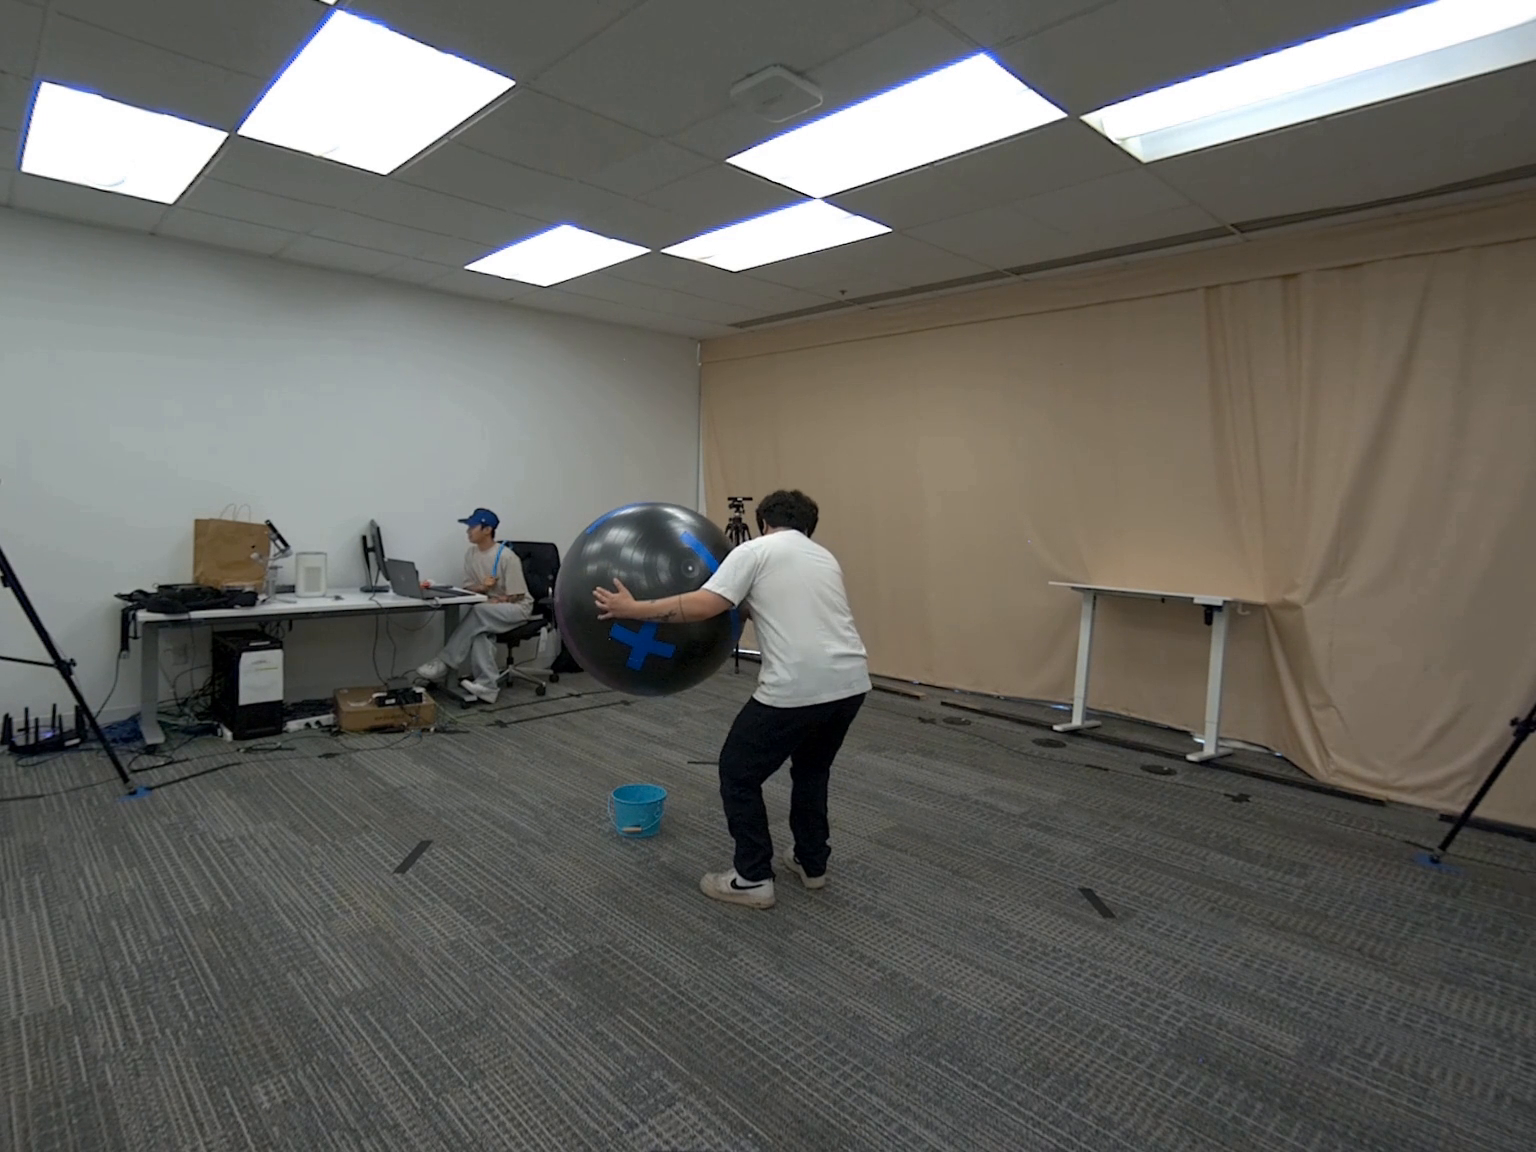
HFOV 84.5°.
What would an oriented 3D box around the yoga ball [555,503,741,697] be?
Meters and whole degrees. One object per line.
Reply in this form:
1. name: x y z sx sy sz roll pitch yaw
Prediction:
1. yoga ball: -0.458 0.101 3.310 0.757 0.756 0.760 1 4 -1
